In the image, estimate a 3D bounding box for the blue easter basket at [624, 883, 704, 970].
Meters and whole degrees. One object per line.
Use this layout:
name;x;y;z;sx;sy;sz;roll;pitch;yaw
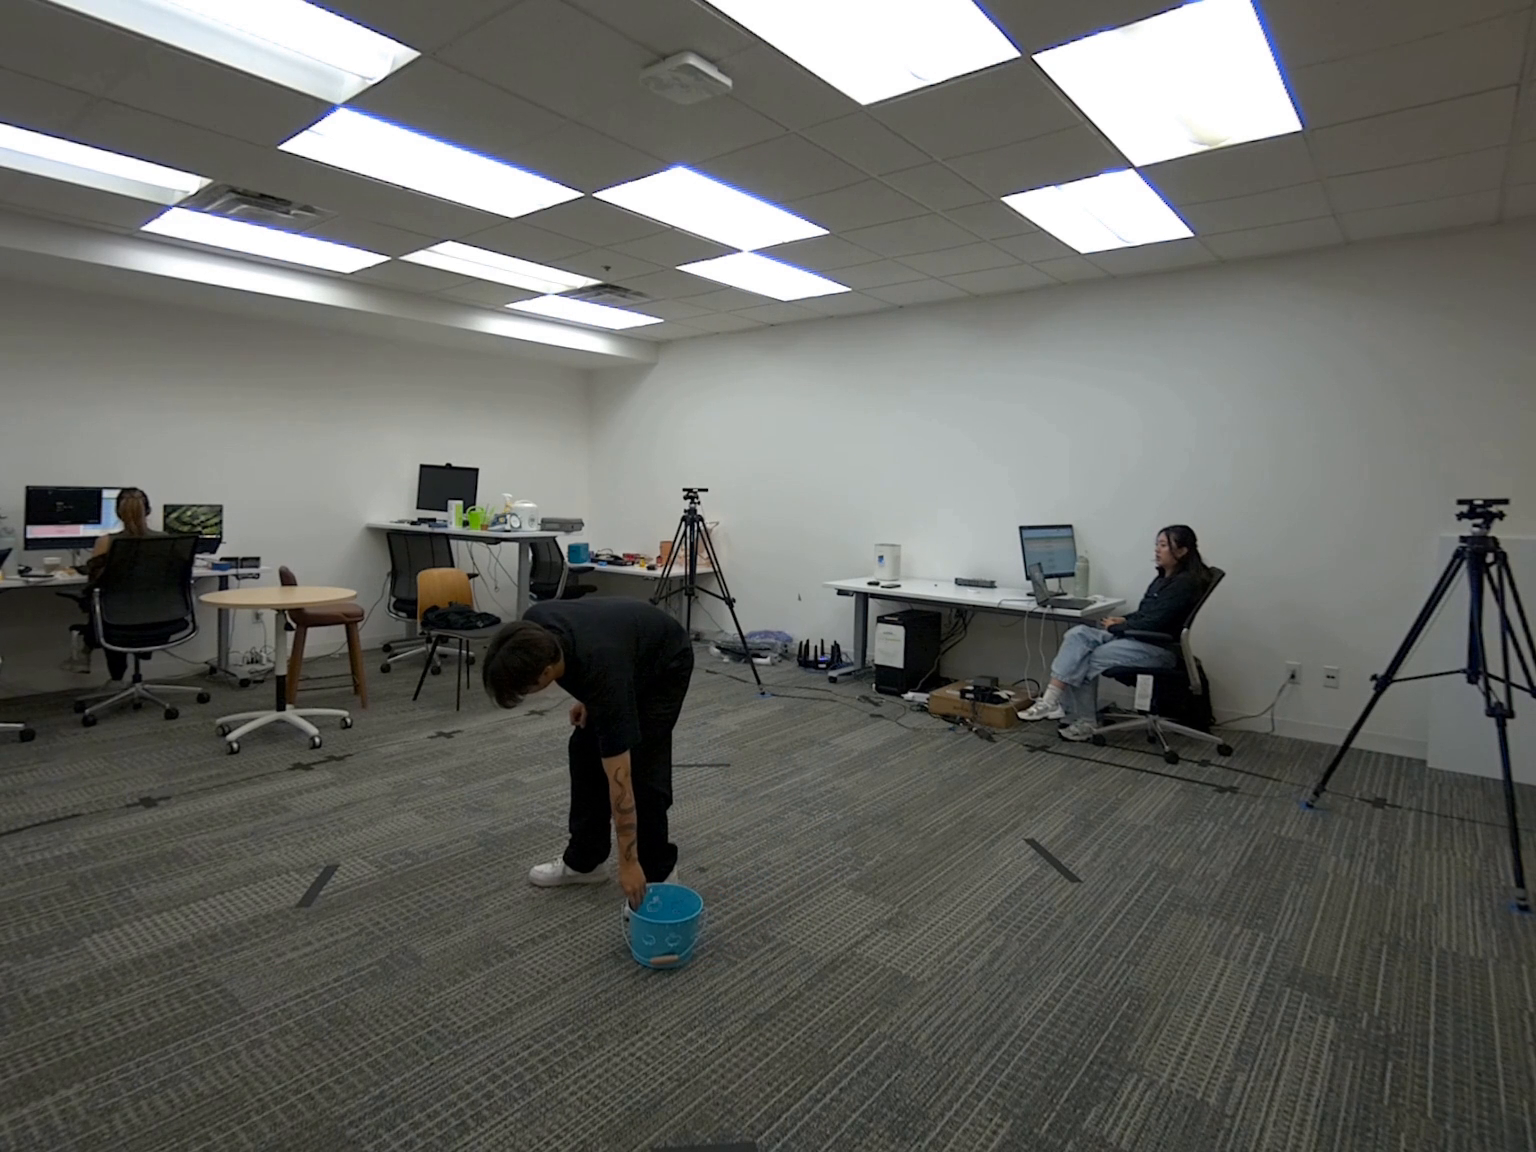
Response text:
blue easter basket;-0.322;1.044;2.542;0.243;0.155;0.245;3;6;-2
